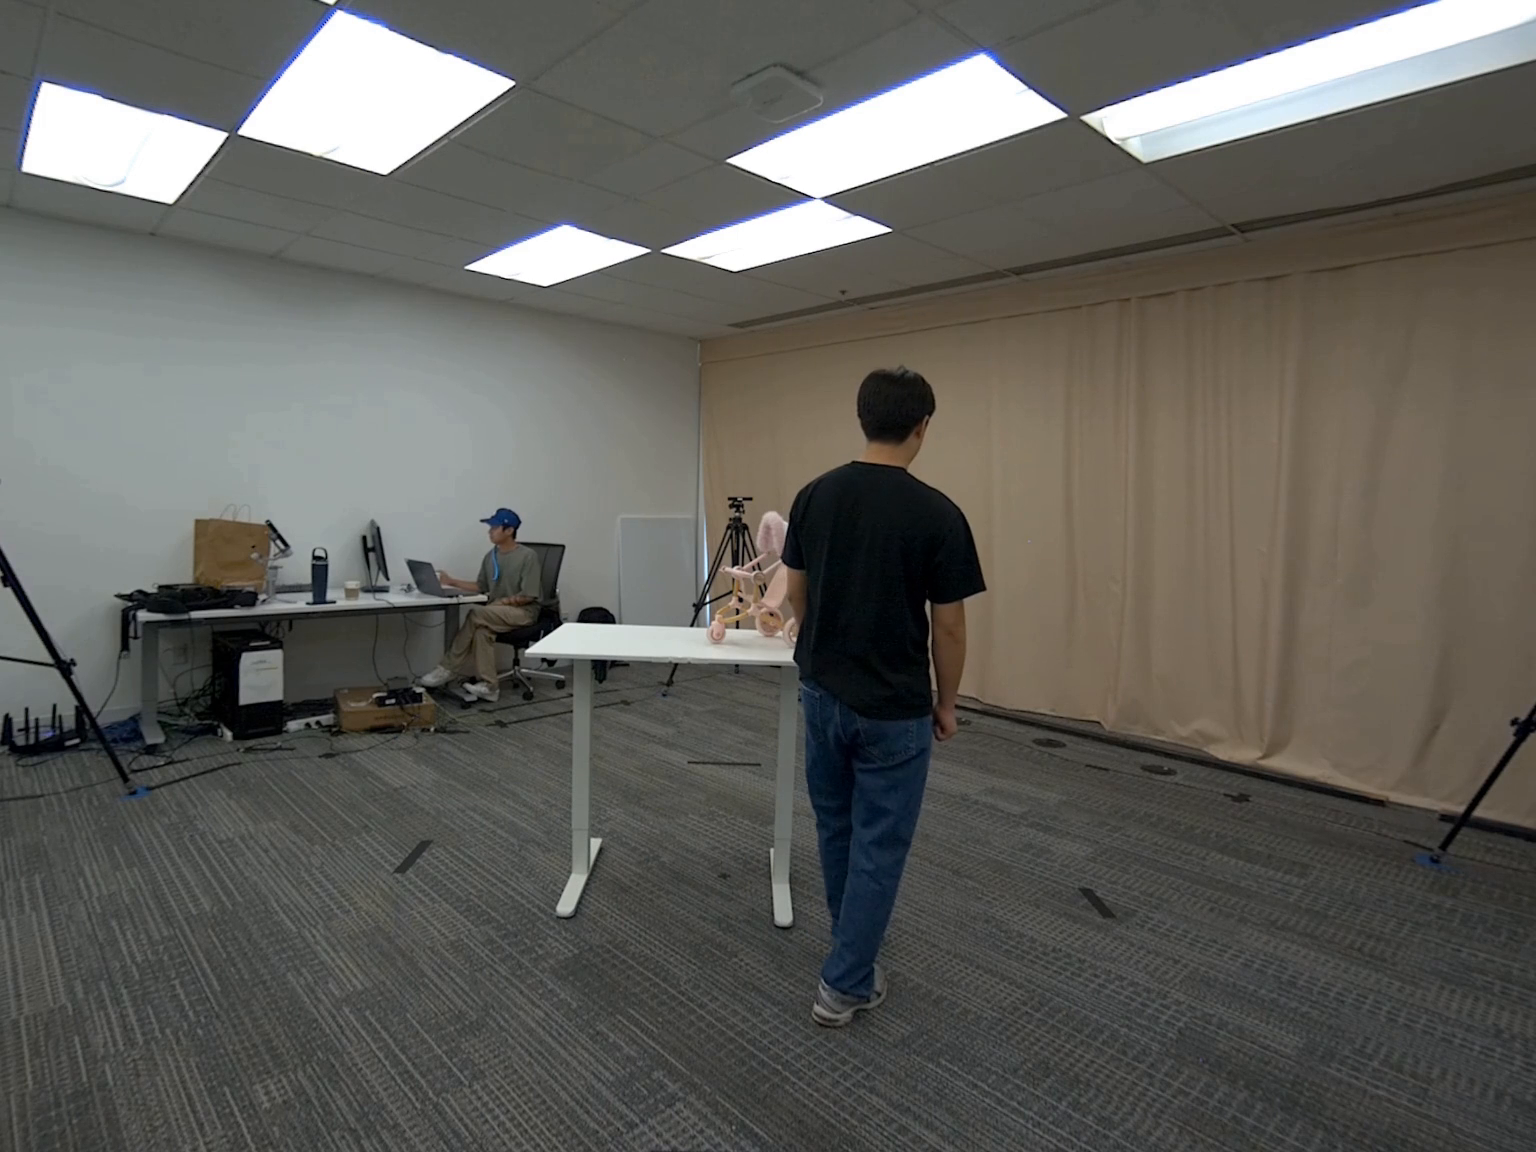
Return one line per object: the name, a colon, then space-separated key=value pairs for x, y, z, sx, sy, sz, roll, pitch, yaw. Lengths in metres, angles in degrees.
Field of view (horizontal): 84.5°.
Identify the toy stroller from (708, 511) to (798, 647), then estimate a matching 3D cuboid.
toy stroller: x=-0.012 y=0.014 z=2.996 sx=0.336 sy=0.535 sz=0.285 roll=15 pitch=-1 yaw=-17
